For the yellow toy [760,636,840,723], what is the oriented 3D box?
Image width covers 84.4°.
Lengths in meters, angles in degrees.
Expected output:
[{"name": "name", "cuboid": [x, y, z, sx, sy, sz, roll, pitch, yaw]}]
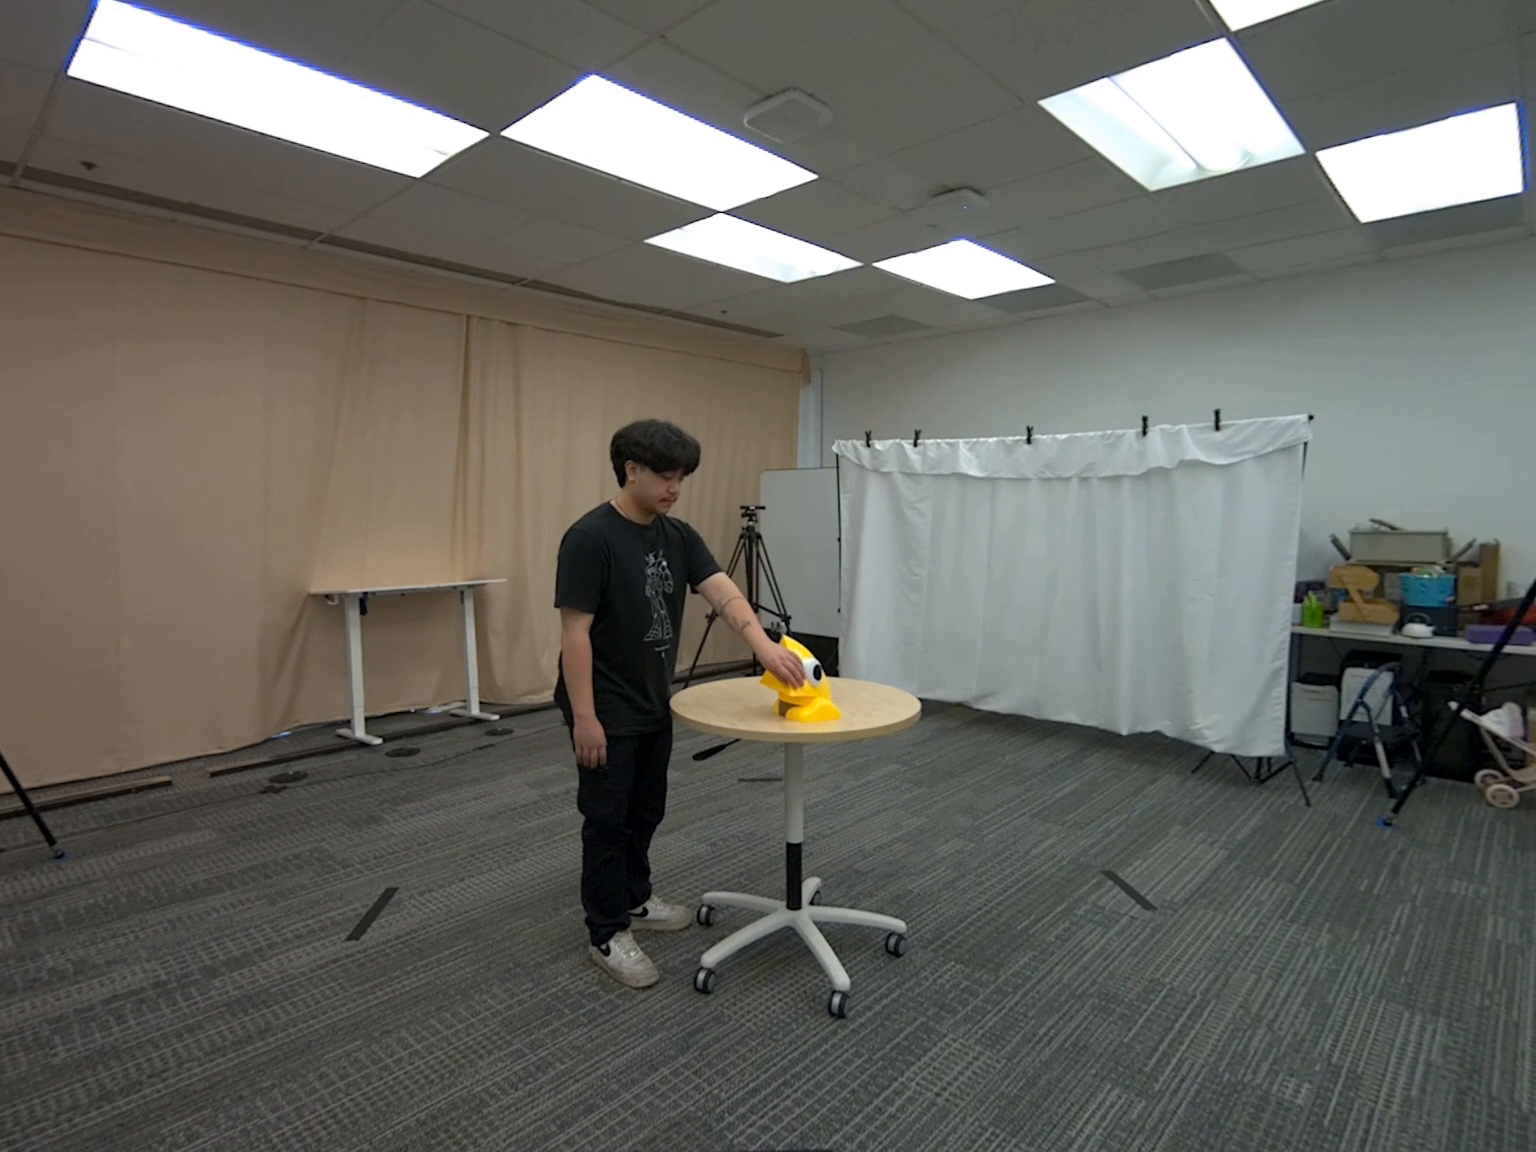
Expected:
[{"name": "yellow toy", "cuboid": [0.105, 0.283, 2.421, 0.189, 0.230, 0.210, -1, 3, -23]}]
